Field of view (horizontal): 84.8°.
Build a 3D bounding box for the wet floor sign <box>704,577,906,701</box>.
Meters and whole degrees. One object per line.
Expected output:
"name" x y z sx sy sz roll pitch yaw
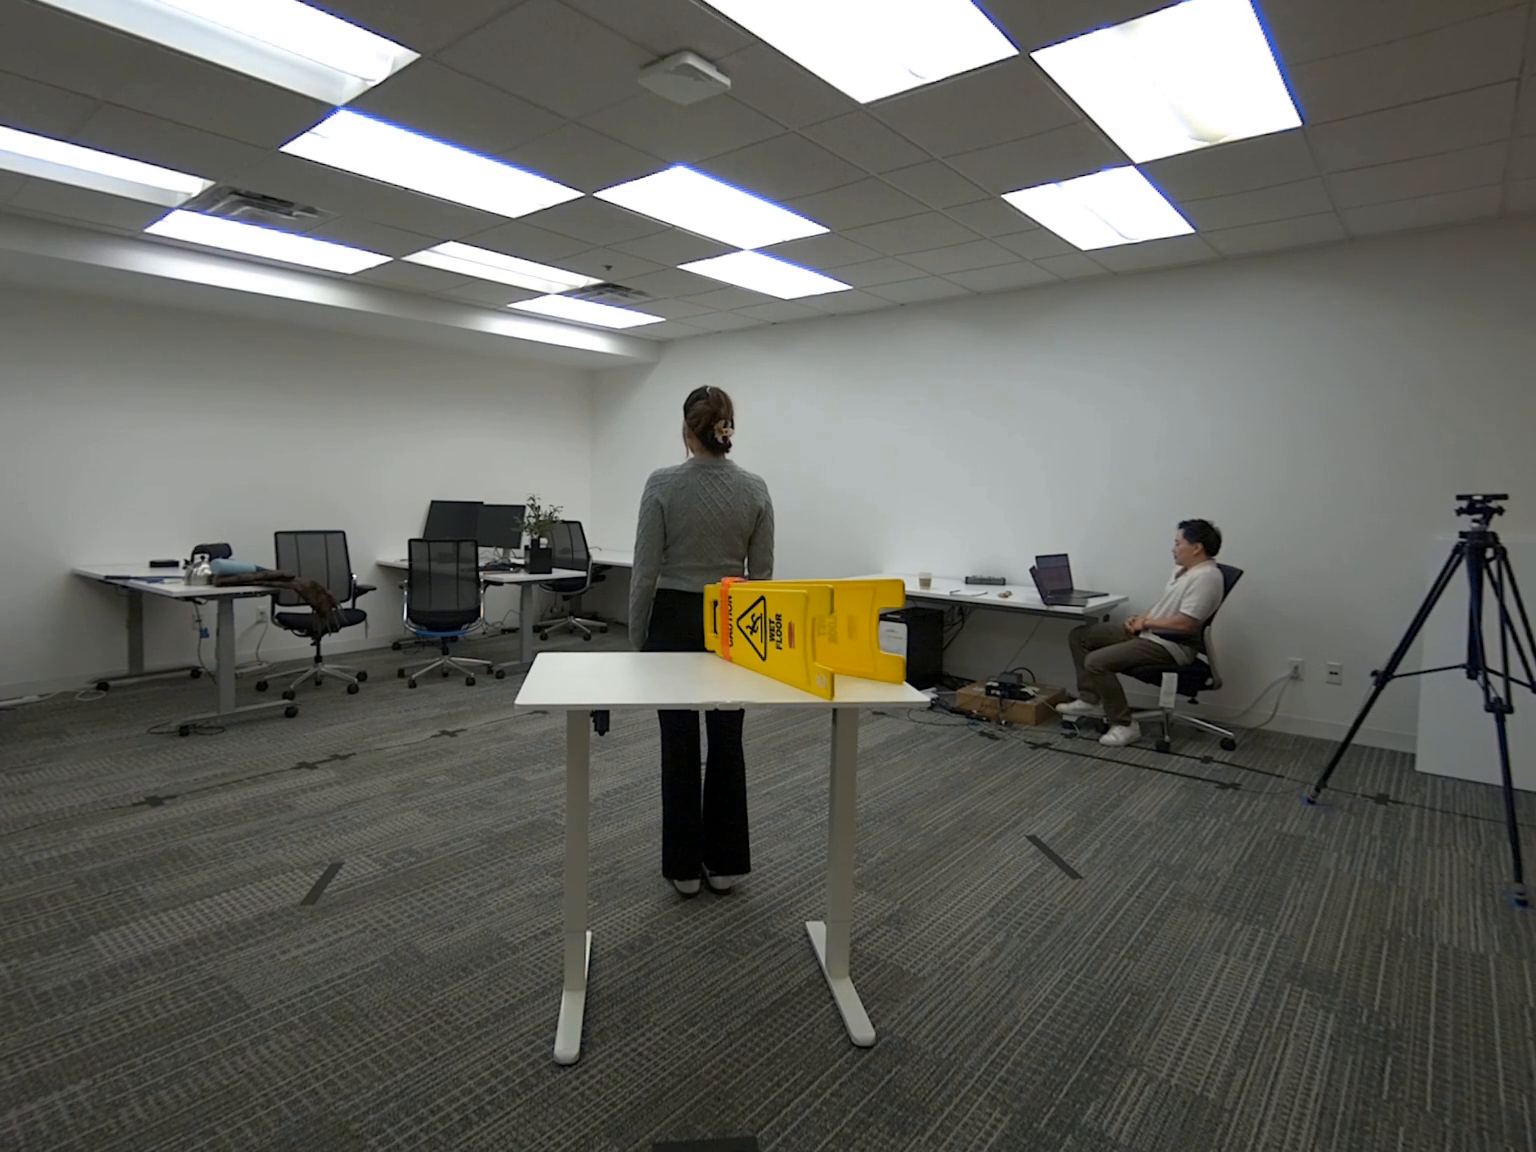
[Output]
"wet floor sign" 0.027 0.140 2.391 0.281 0.281 0.667 -4 5 -43
